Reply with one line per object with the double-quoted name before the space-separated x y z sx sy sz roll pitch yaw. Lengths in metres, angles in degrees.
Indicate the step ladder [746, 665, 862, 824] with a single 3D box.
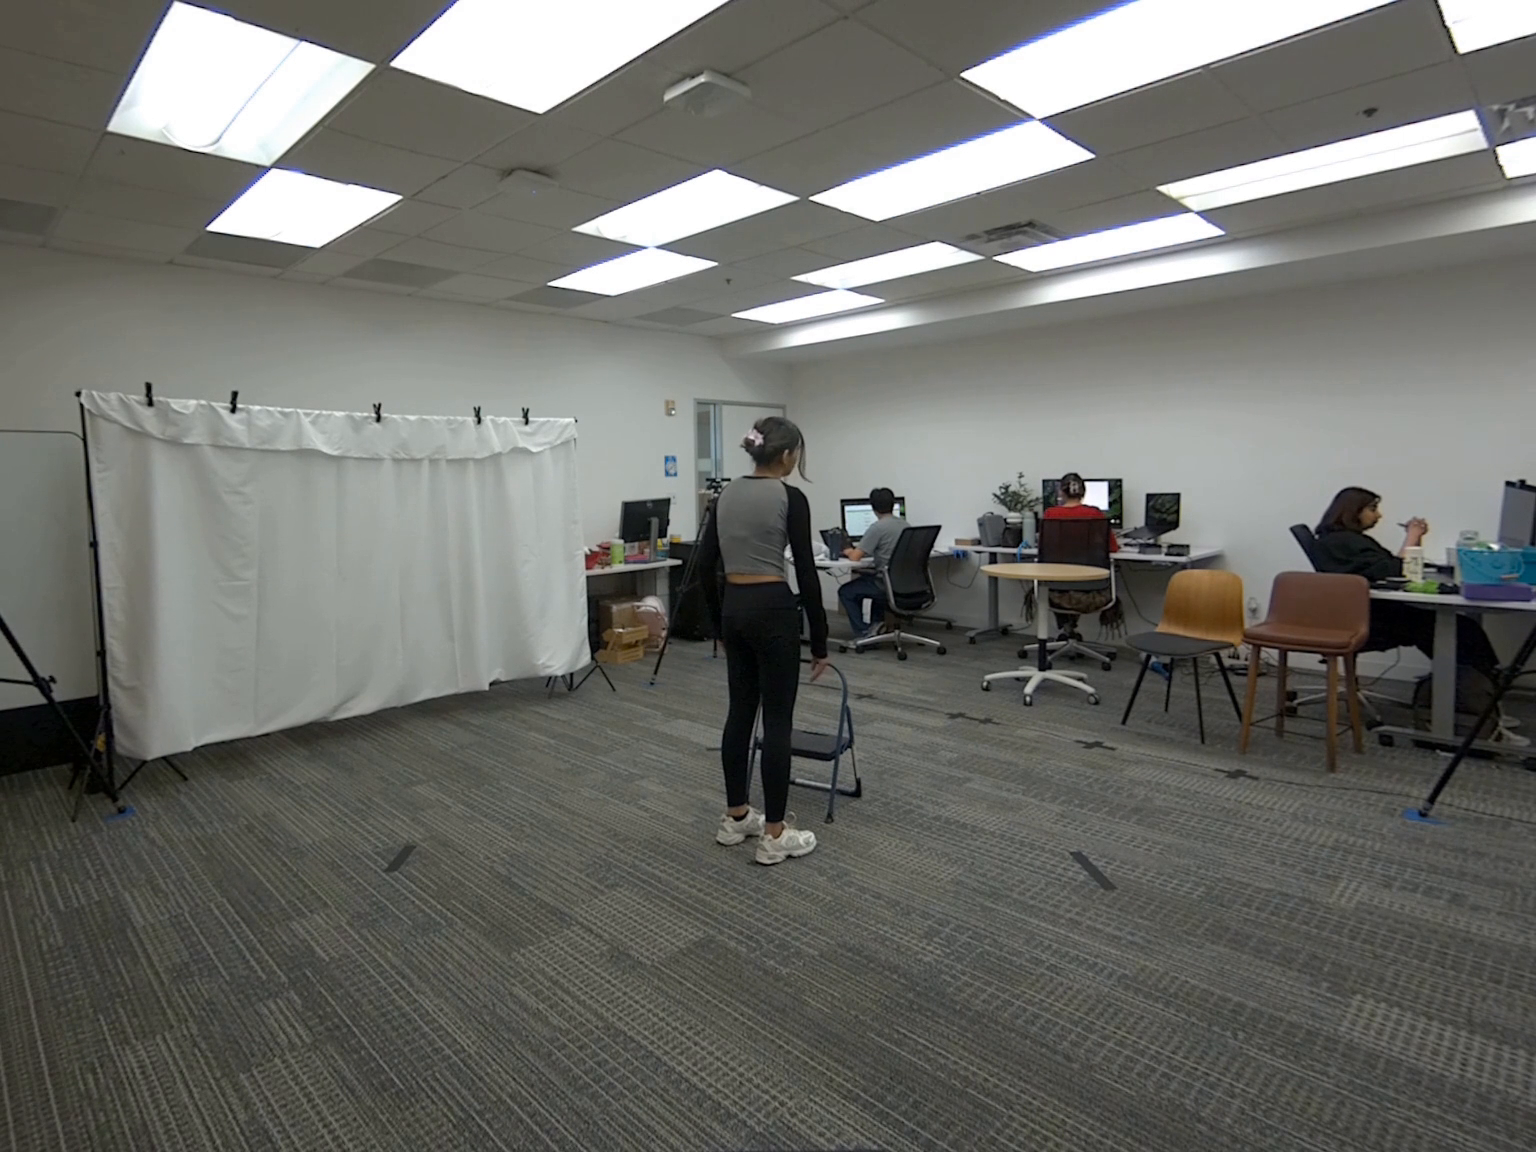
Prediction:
"step ladder" 0.152 0.671 3.684 0.442 0.604 0.341 2 5 31
